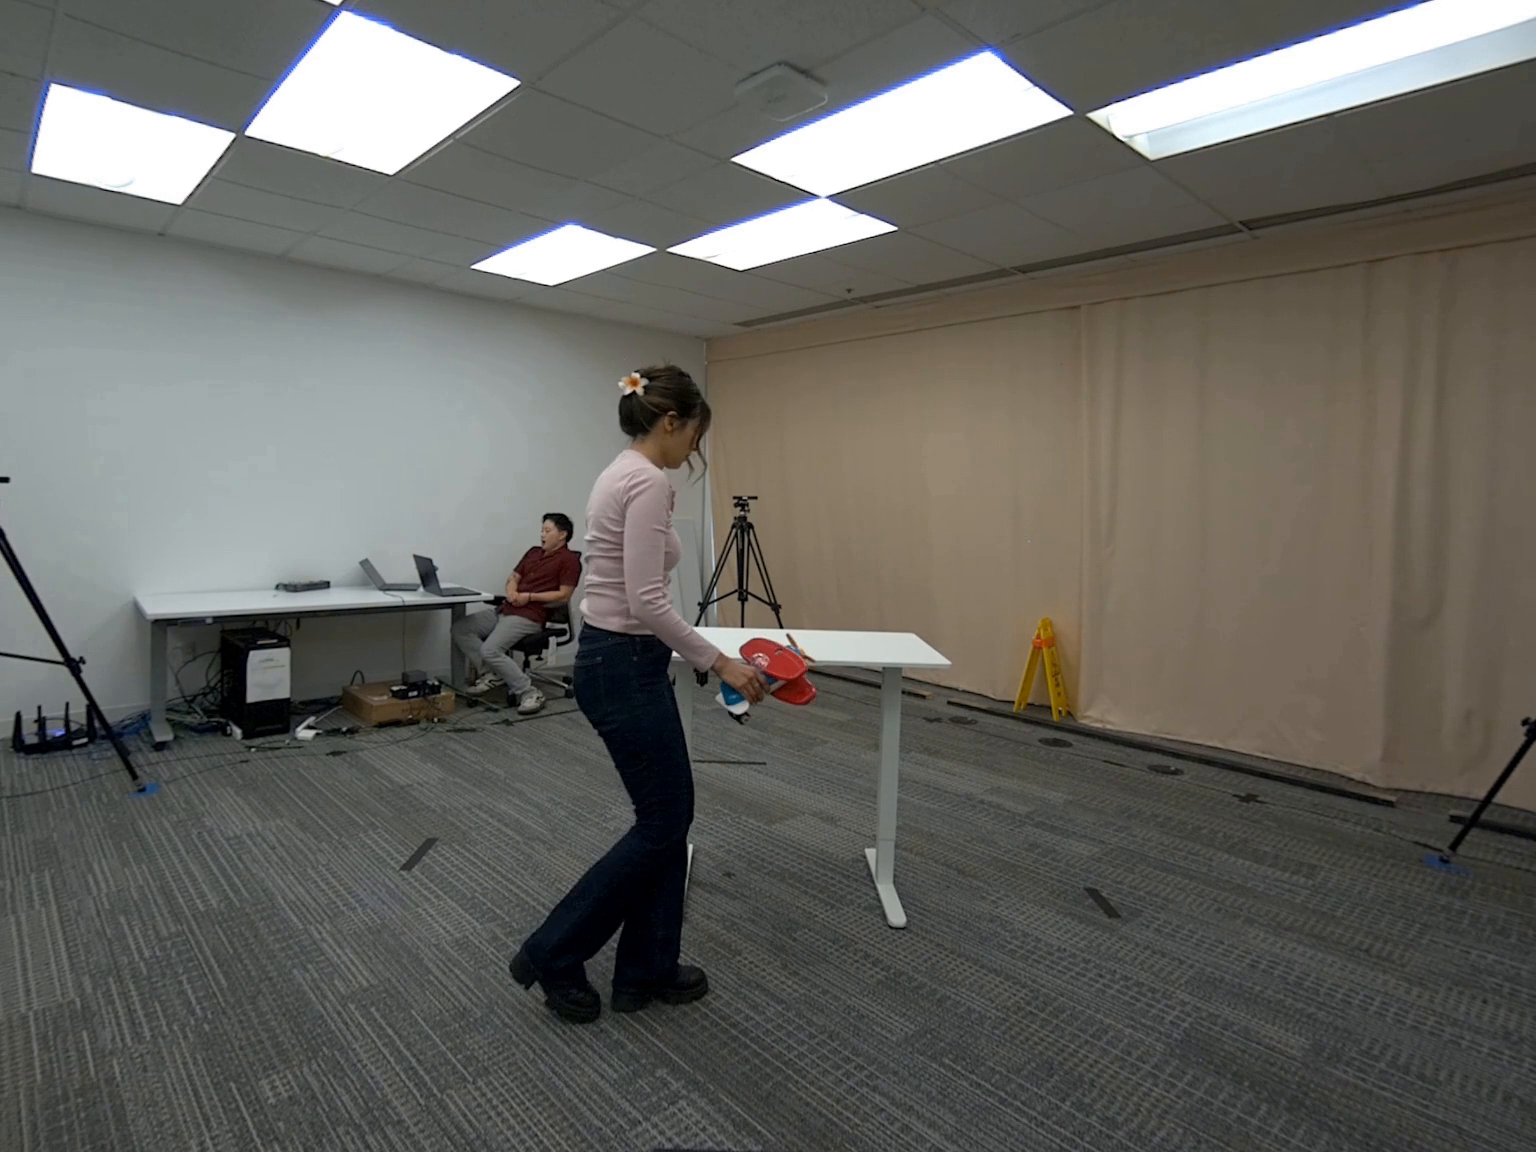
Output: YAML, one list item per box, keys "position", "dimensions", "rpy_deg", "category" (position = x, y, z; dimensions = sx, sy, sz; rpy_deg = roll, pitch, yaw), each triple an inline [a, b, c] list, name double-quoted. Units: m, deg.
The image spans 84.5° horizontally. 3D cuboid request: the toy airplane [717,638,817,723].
- position: [0.001, 0.277, 2.189]
  dimensions: [0.256, 0.154, 0.257]
  rpy_deg: [4, 21, 29]
  category: "toy airplane"
